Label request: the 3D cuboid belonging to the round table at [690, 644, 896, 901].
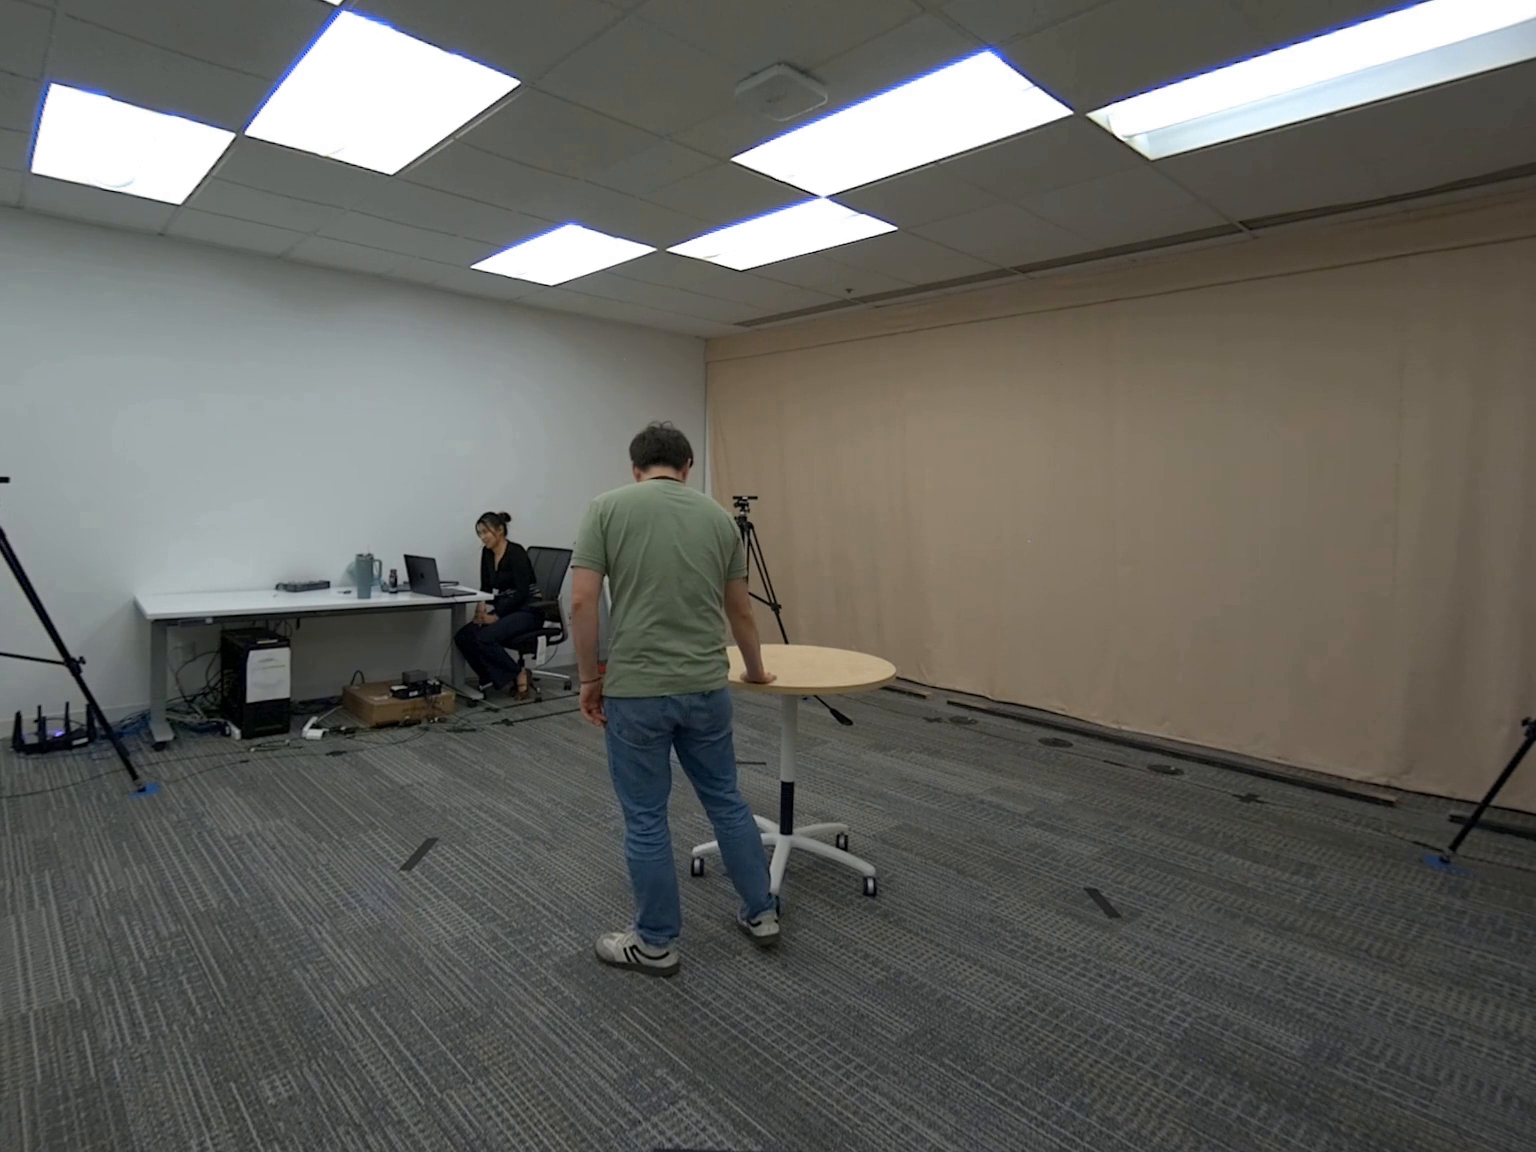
[{"bbox_3d":[0.071,0.716,3.135,0.763,0.792,0.767,1,4,-1],"label":"round table"}]
